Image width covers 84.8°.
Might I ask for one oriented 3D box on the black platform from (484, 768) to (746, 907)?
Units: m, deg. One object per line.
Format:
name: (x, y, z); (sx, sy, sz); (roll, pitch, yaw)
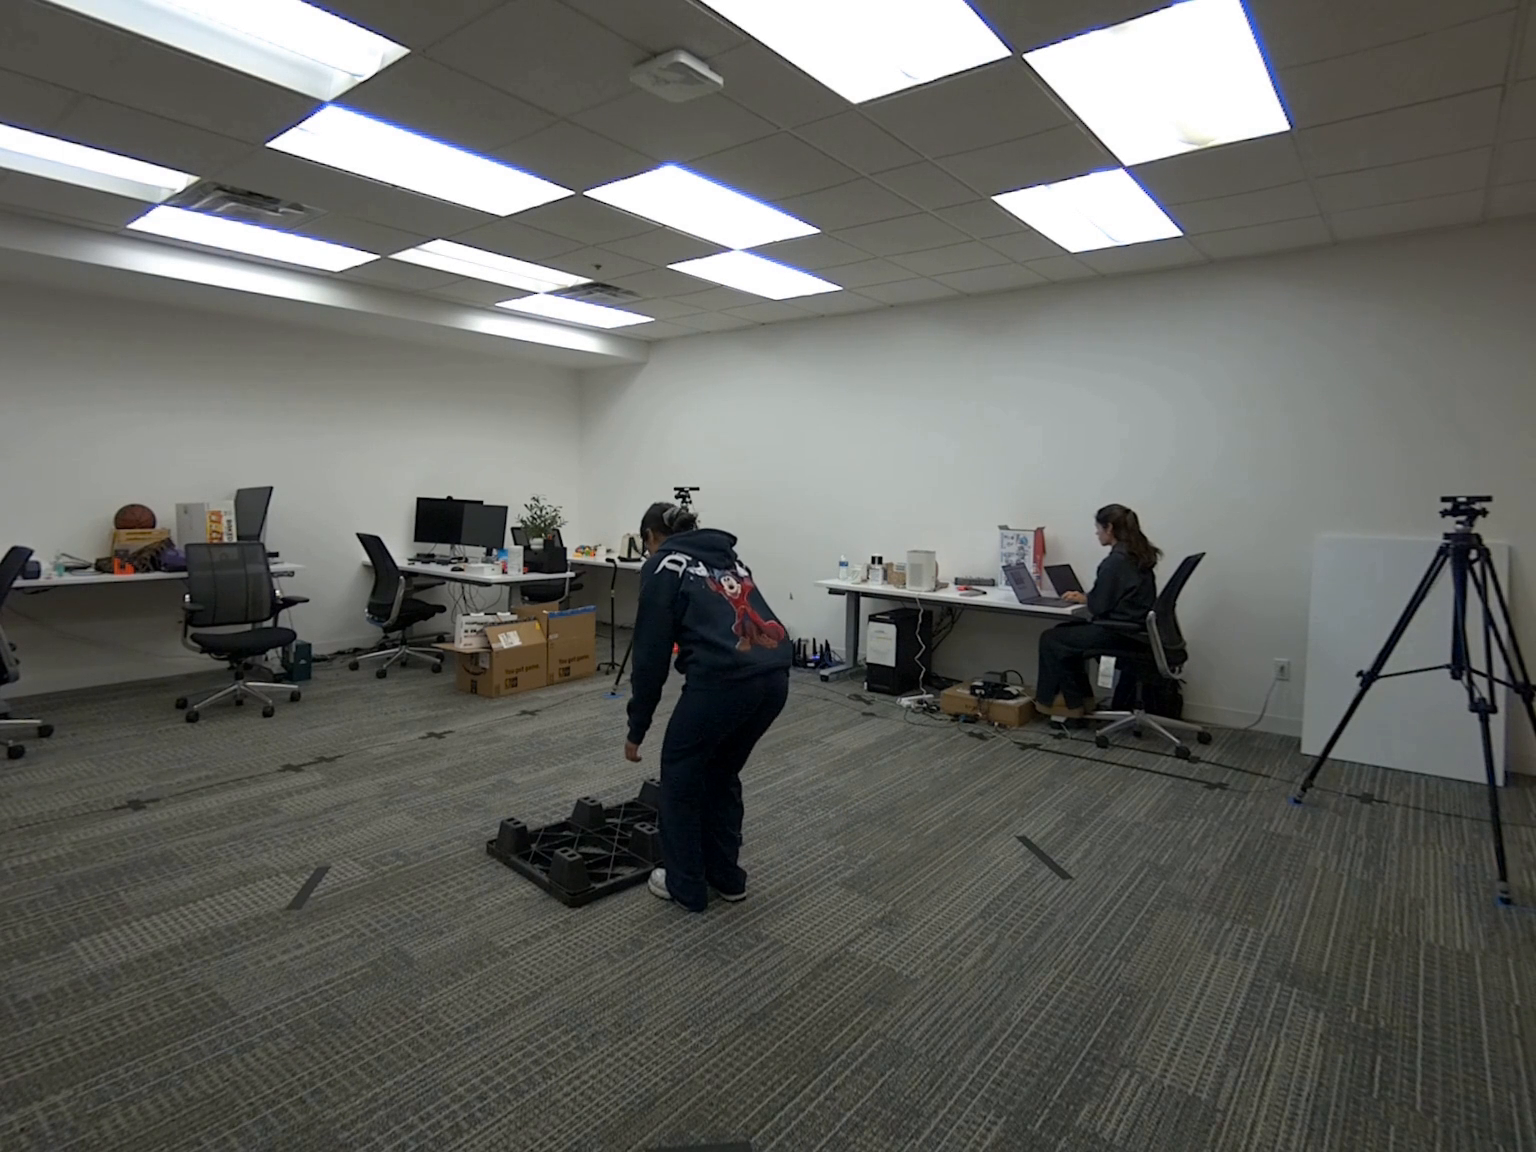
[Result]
black platform: (-0.588, 0.973, 3.262); (0.626, 0.143, 0.781); (5, 7, 45)
